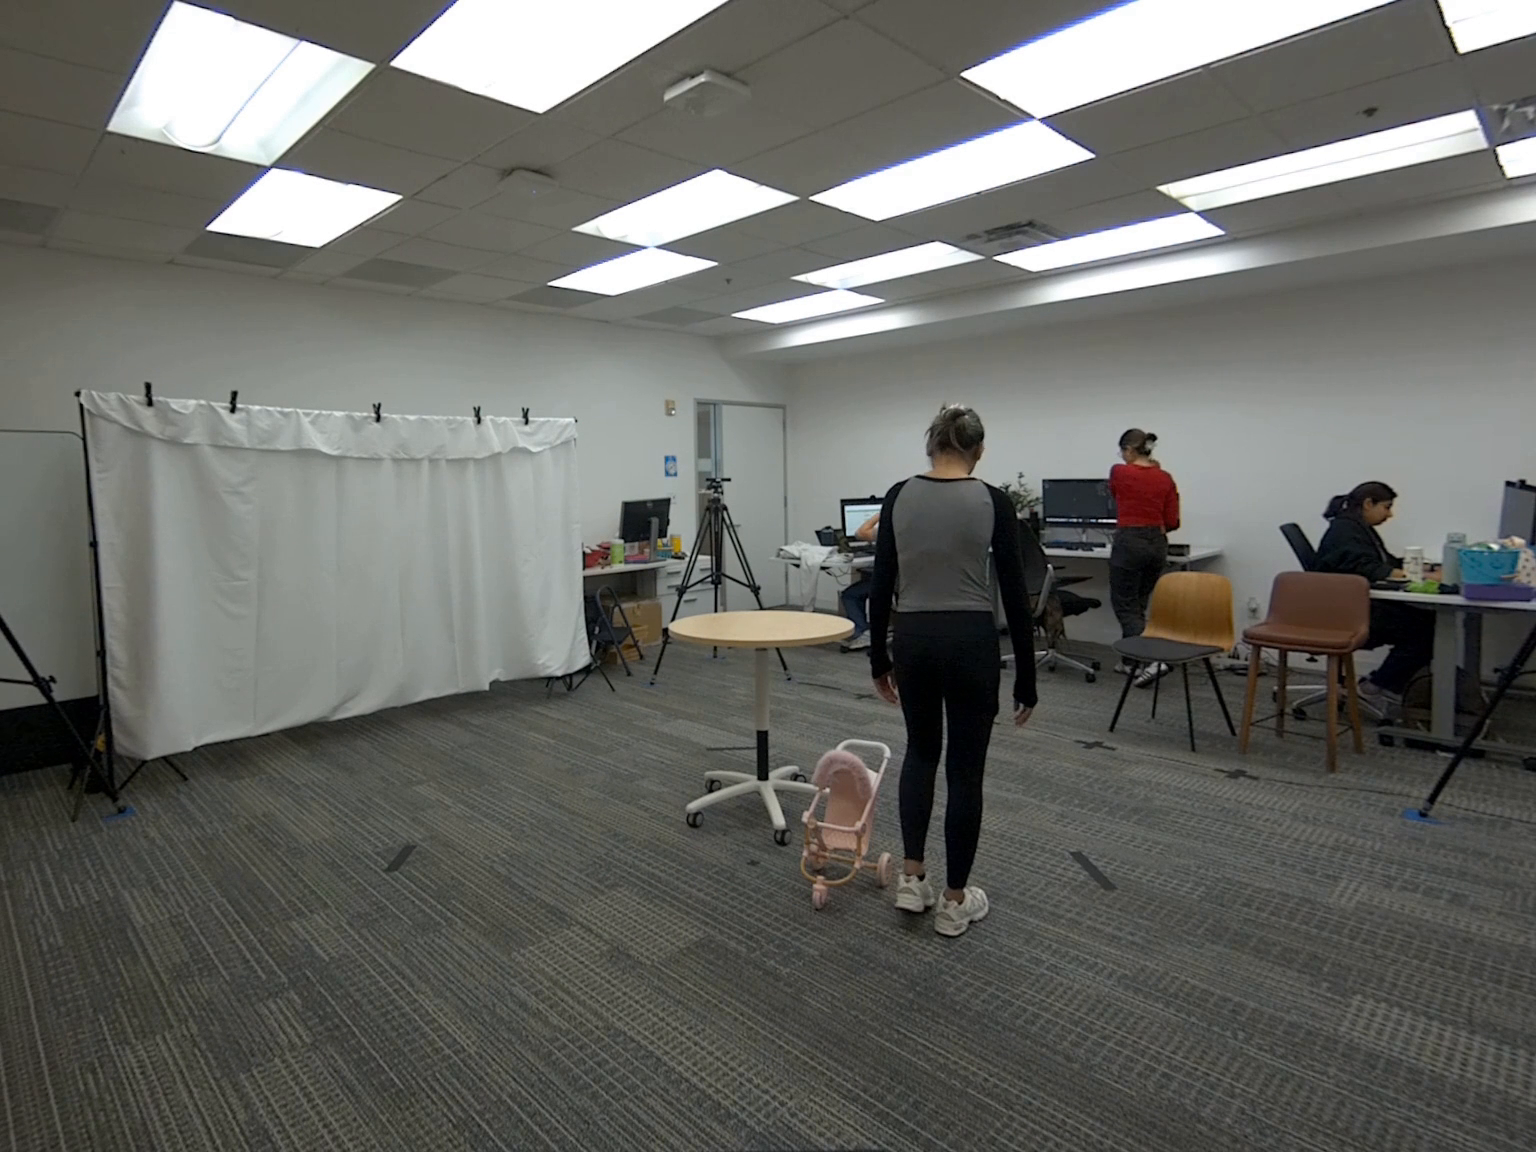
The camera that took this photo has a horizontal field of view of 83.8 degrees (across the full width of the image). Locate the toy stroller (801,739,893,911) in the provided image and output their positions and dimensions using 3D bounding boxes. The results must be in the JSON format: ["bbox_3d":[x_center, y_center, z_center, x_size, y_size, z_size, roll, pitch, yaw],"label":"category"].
[{"bbox_3d":[0.251,0.832,2.916,0.289,0.539,0.329,0,-11,34],"label":"toy stroller"}]
